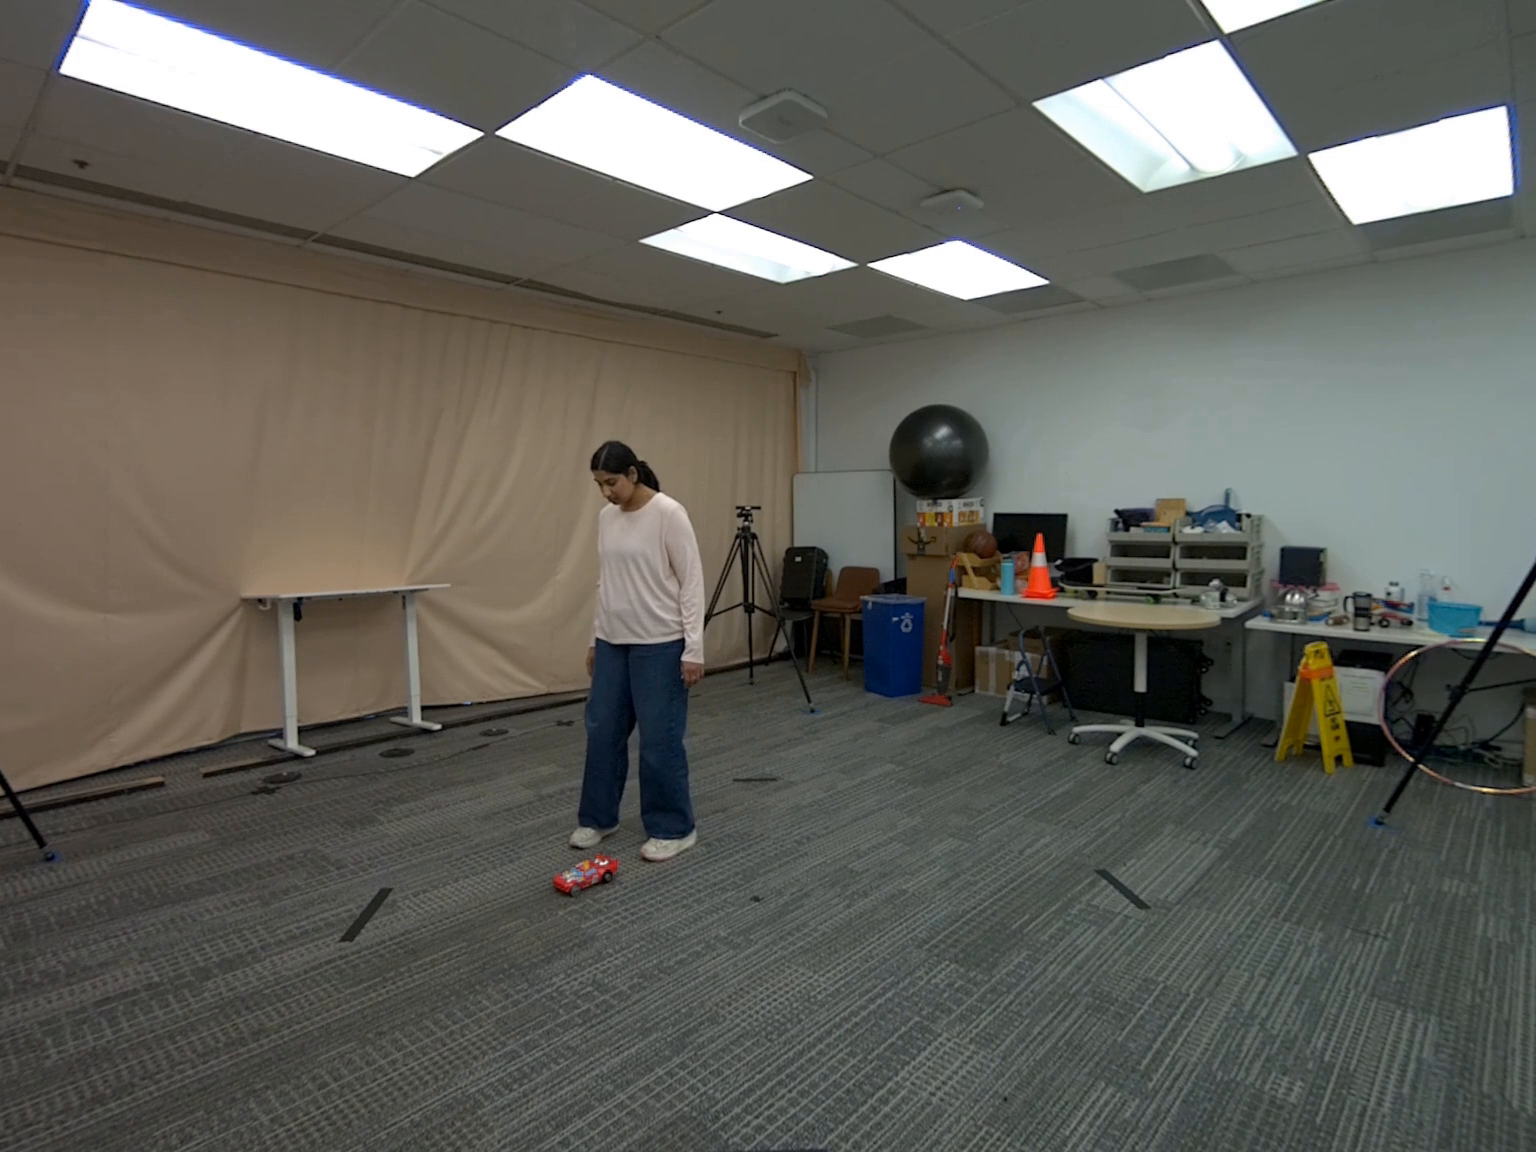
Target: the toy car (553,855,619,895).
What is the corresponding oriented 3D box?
[{"bbox_3d":[-0.665,1.104,3.117,0.134,0.082,0.248,1,15,41],"label":"toy car"}]
